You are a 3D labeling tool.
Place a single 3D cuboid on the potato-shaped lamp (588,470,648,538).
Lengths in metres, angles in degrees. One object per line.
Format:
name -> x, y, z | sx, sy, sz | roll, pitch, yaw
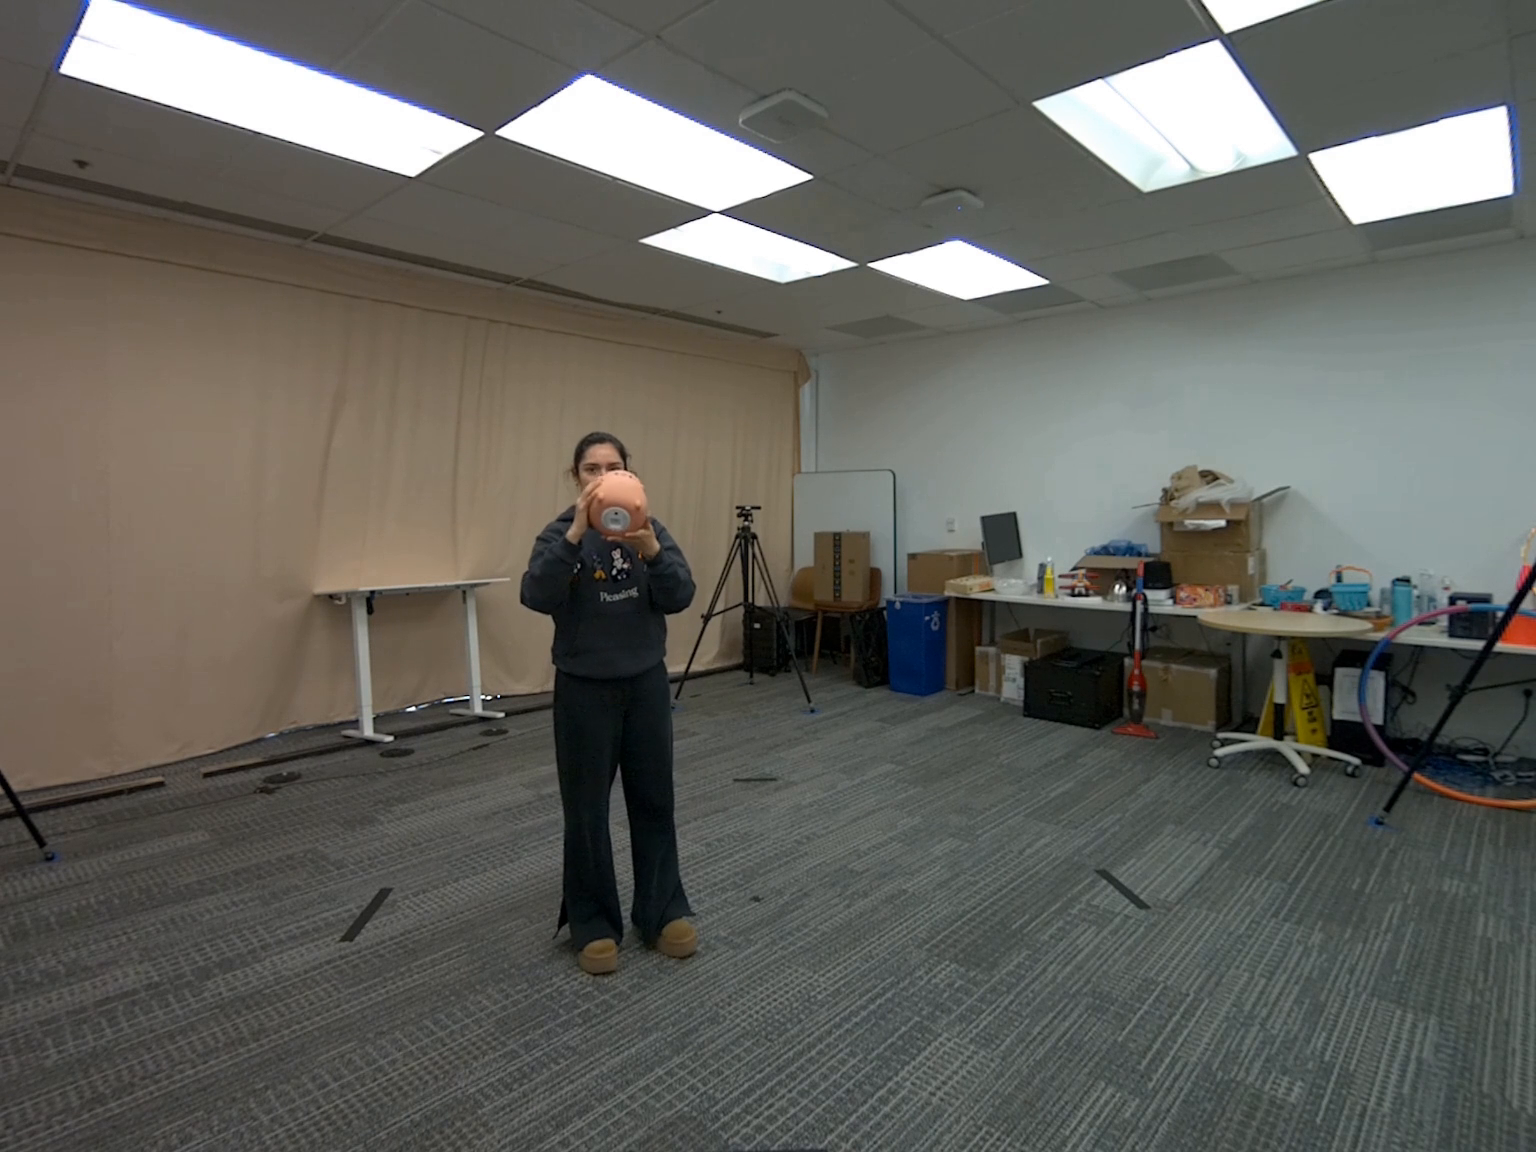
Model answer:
potato-shaped lamp -> -0.407, -0.207, 2.328 | 0.163, 0.170, 0.202 | 8, 40, -10
